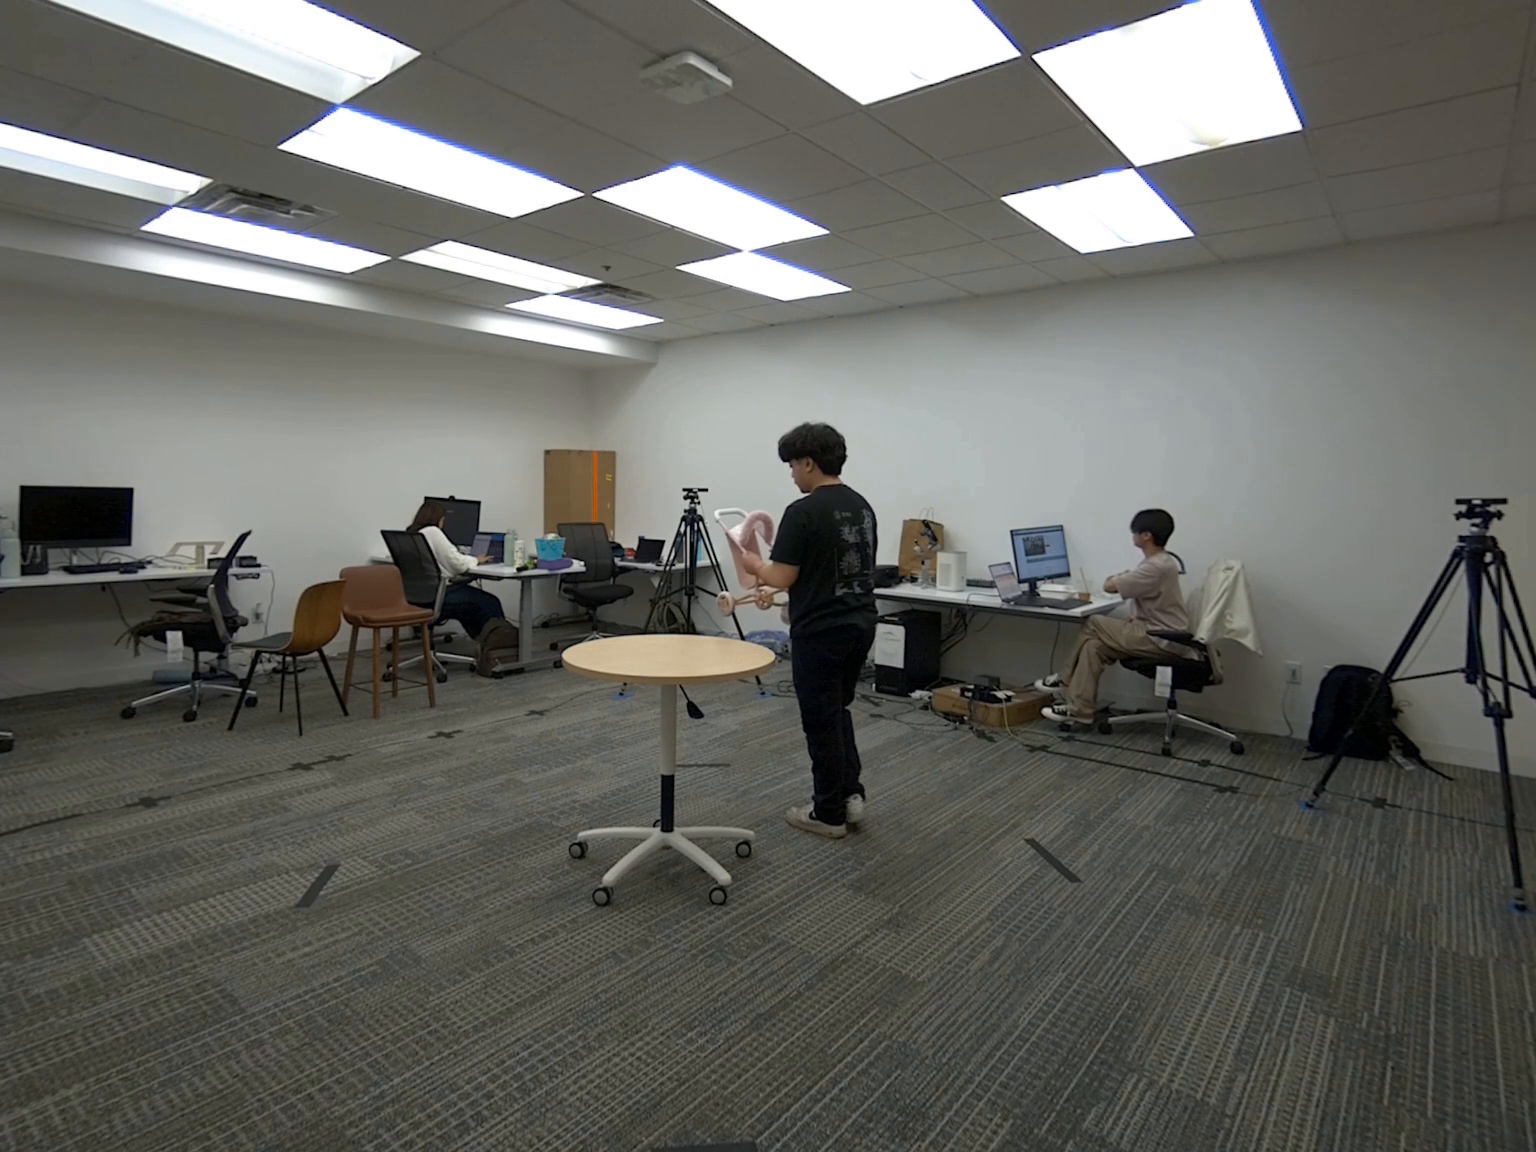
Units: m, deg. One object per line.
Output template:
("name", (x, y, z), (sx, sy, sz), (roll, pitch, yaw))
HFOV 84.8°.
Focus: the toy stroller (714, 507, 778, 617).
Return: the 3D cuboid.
("toy stroller", (-0.051, -0.049, 3.727), (0.273, 0.536, 0.351), (-4, -2, -43))
